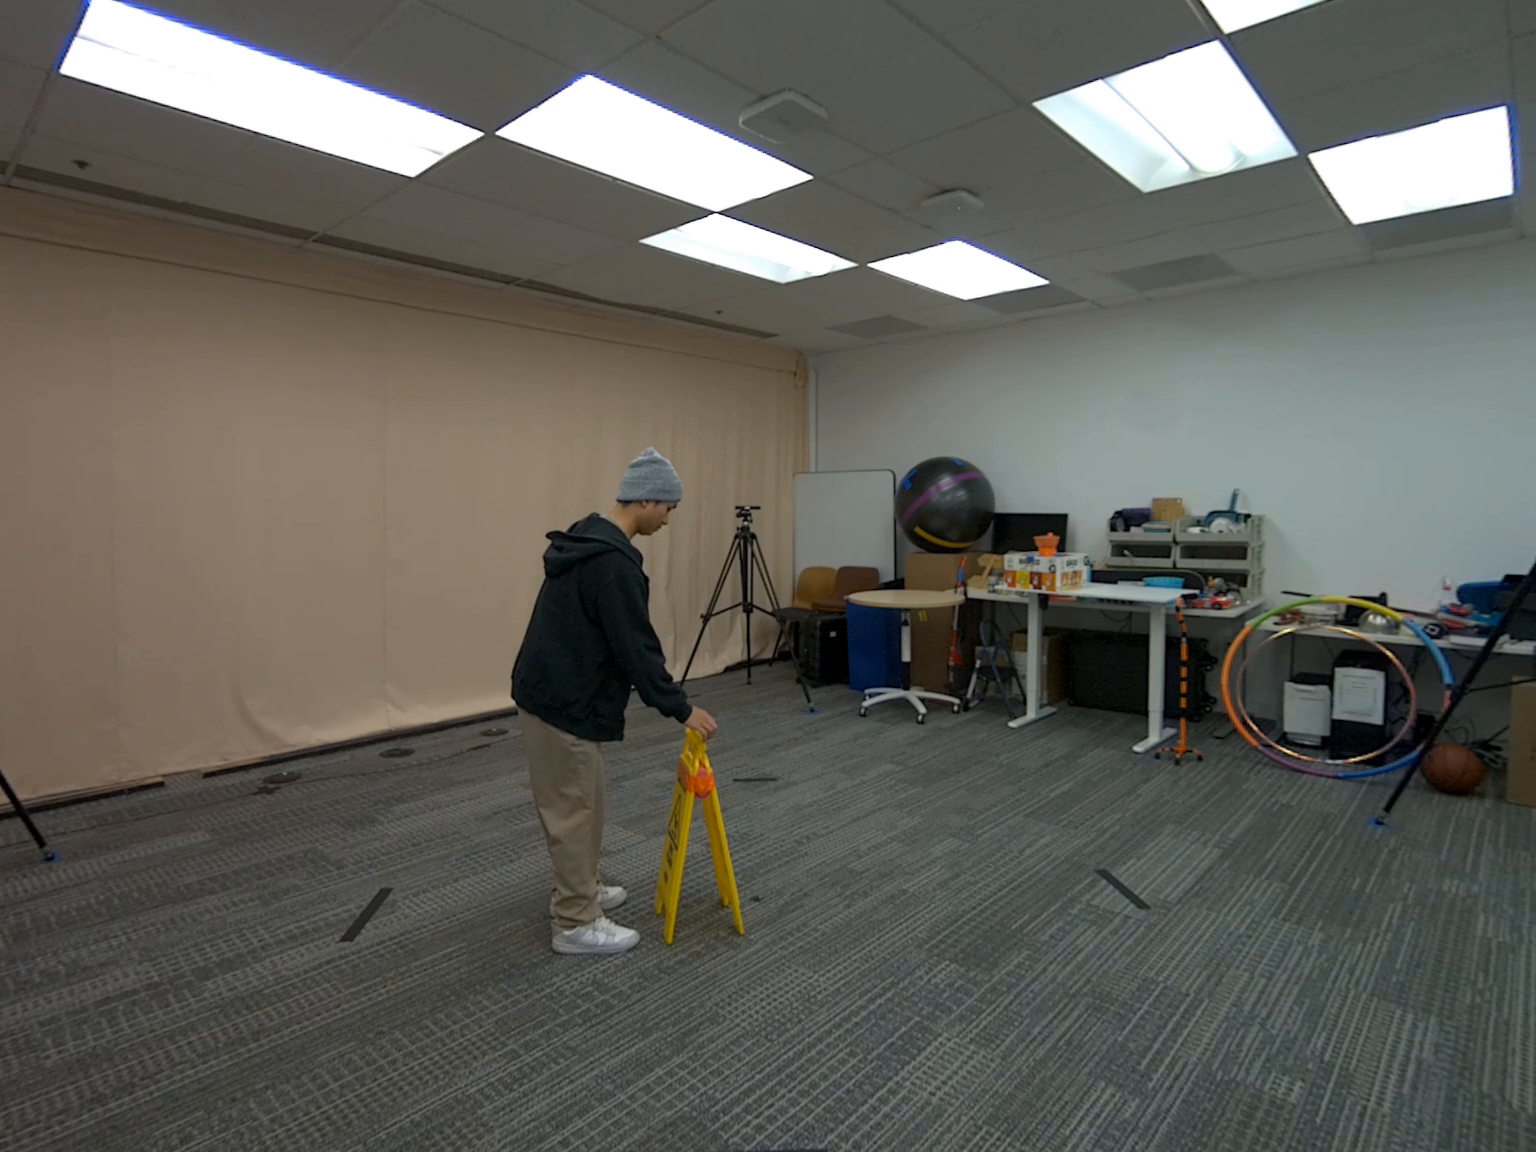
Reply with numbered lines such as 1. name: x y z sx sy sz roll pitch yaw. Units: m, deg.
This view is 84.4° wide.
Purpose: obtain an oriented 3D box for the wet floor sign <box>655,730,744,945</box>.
1. wet floor sign: -0.241 0.831 2.803 0.285 0.645 0.287 0 2 -16
